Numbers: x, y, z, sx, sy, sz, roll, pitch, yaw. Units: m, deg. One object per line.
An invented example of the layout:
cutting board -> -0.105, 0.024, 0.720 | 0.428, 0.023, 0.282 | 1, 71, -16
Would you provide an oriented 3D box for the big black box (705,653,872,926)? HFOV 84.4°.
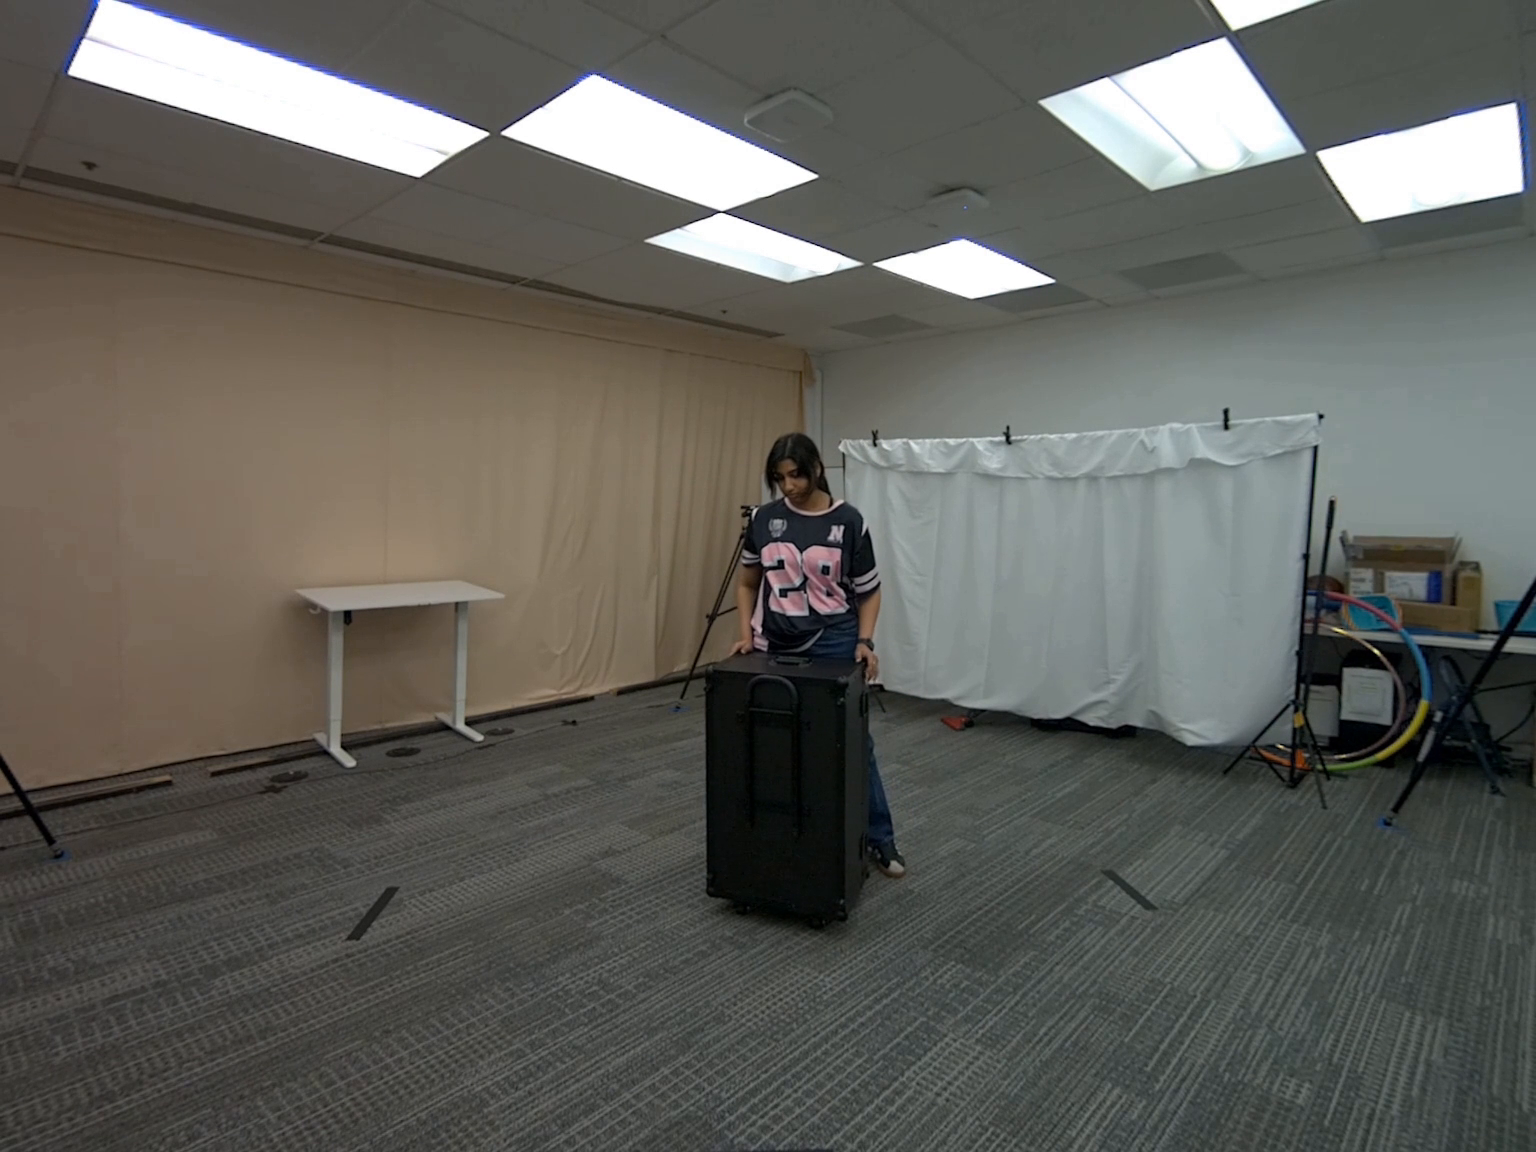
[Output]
big black box -> 0.077, 0.733, 2.889 | 0.533, 0.859, 0.389 | 1, 5, 21
